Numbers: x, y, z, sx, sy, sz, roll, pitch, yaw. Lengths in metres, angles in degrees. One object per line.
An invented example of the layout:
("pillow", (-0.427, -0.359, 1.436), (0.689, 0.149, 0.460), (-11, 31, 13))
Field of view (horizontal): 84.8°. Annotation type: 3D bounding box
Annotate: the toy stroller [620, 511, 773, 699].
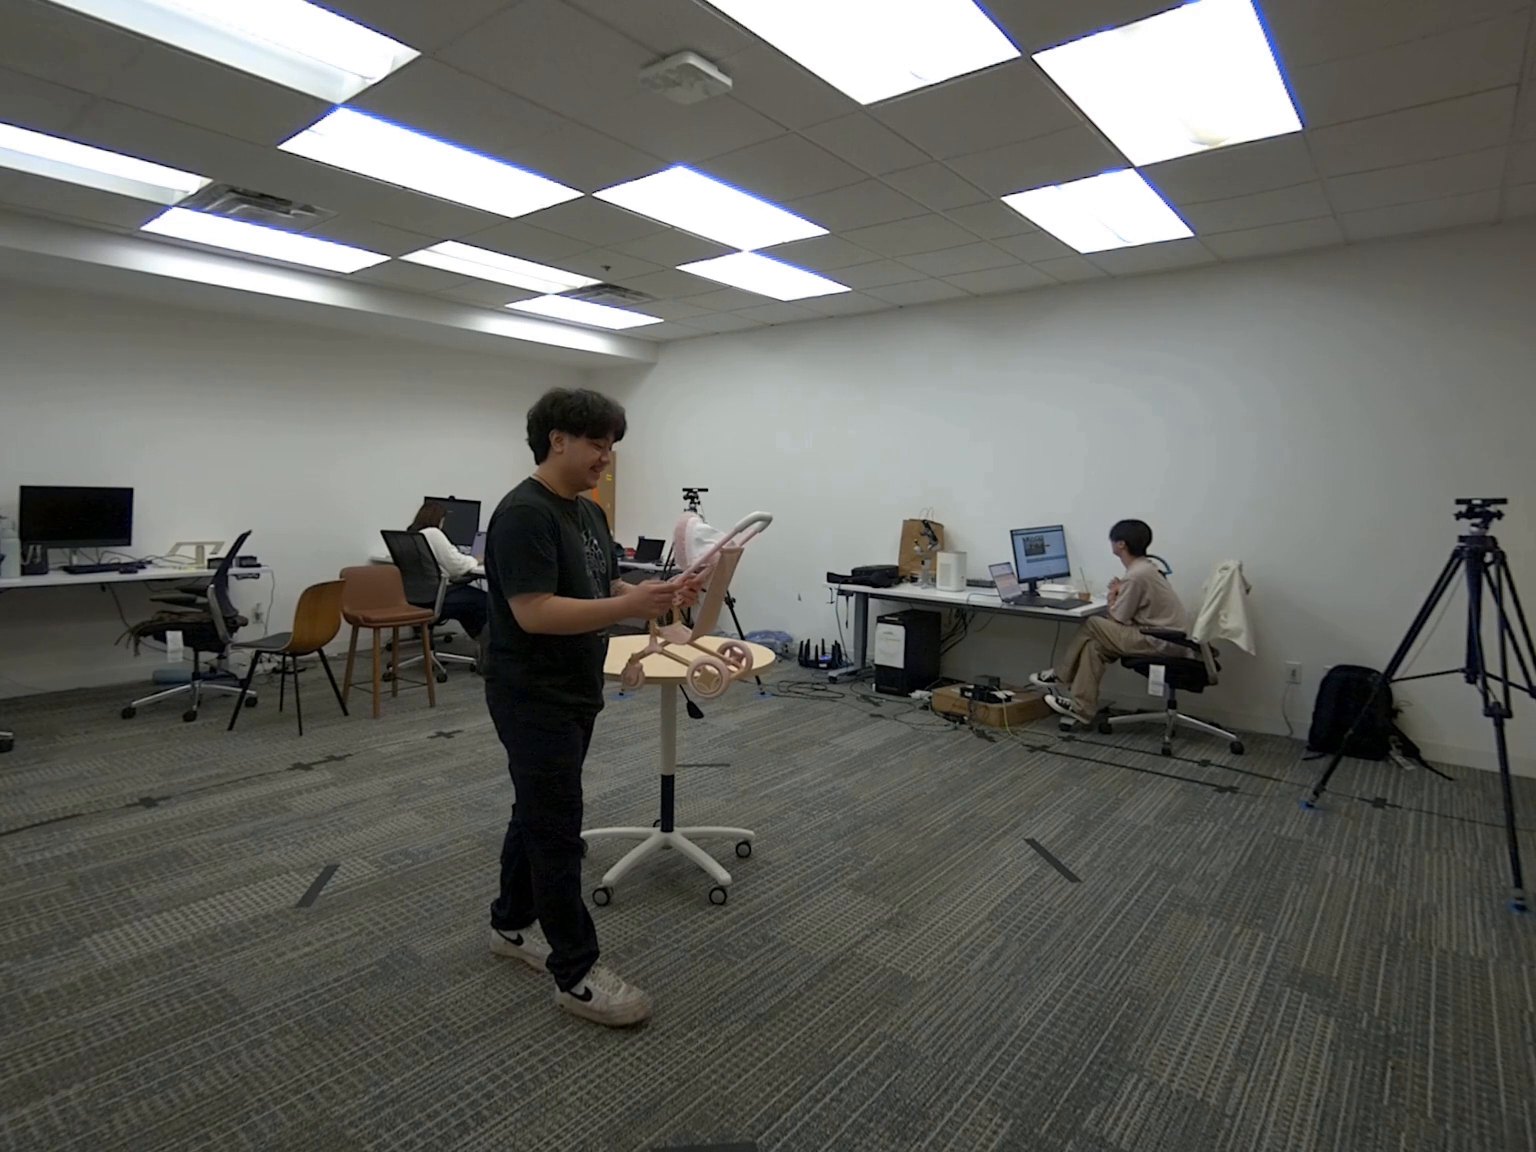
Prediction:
("toy stroller", (-0.214, 0.072, 2.244), (0.349, 0.533, 0.276), (10, 6, 19))
